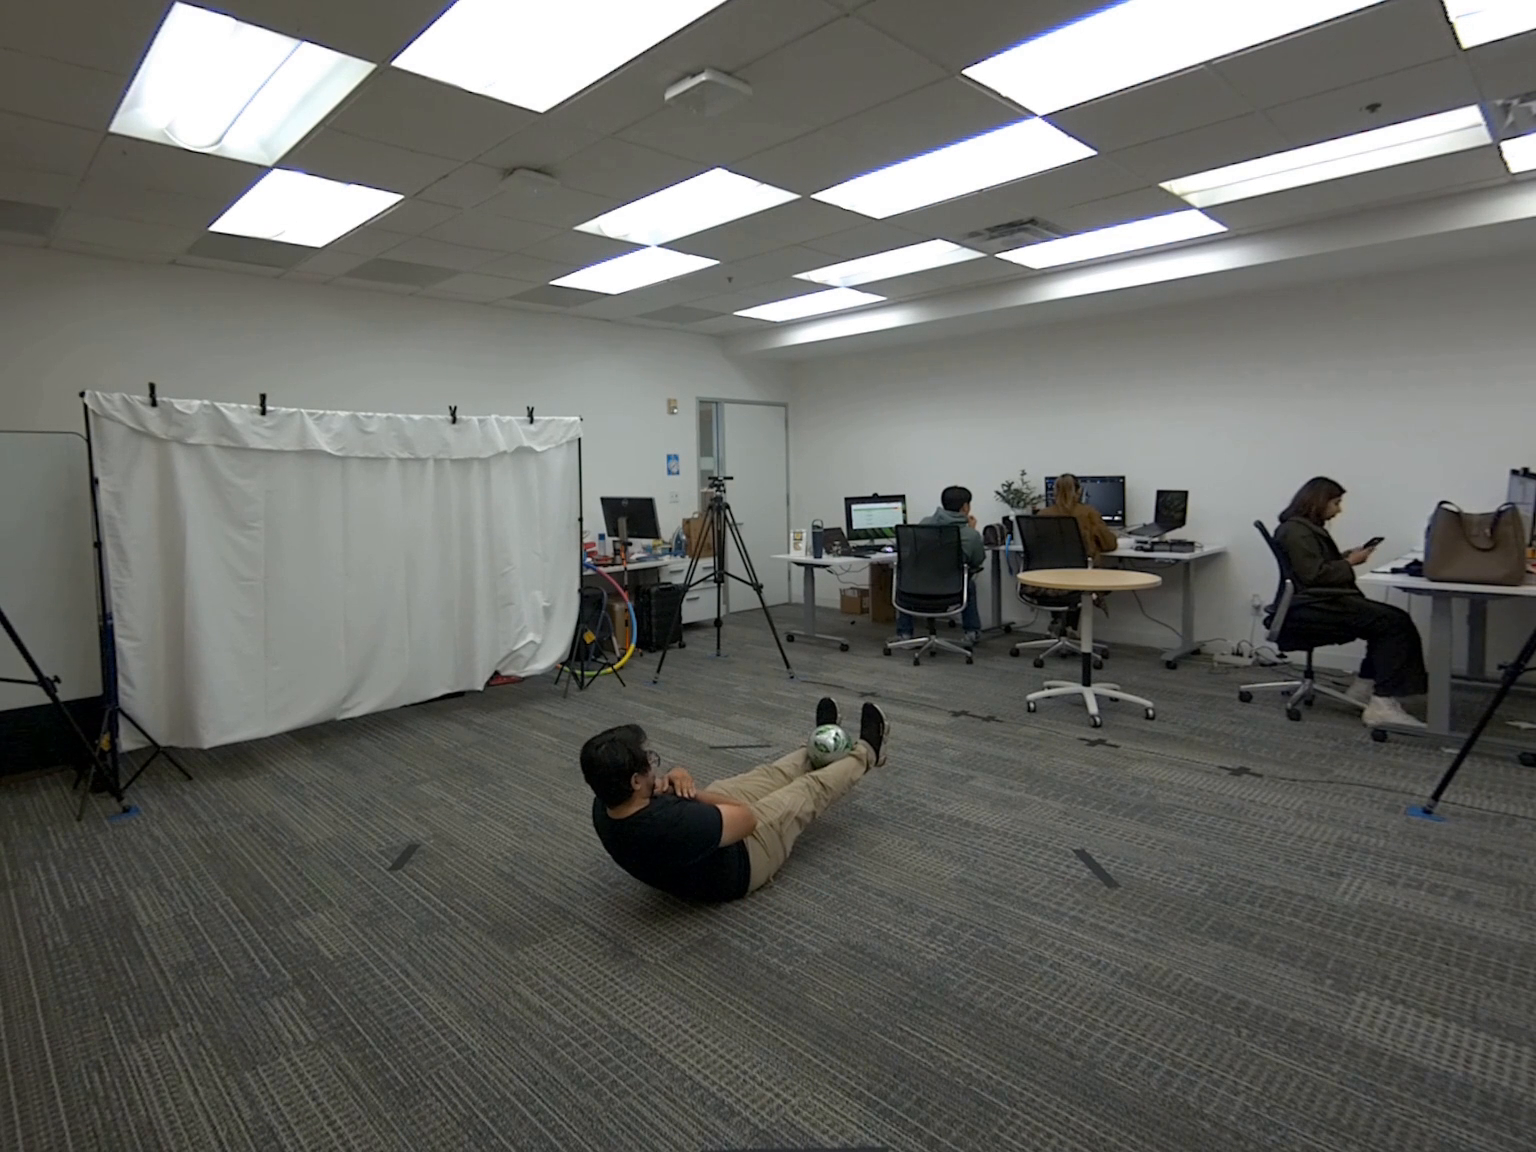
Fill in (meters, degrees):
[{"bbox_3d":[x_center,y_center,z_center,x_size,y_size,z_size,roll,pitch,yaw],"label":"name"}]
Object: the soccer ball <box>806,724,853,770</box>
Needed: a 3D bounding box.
[{"bbox_3d":[0.256,0.705,3.482,0.187,0.187,0.188,-1,4,-2],"label":"soccer ball"}]
